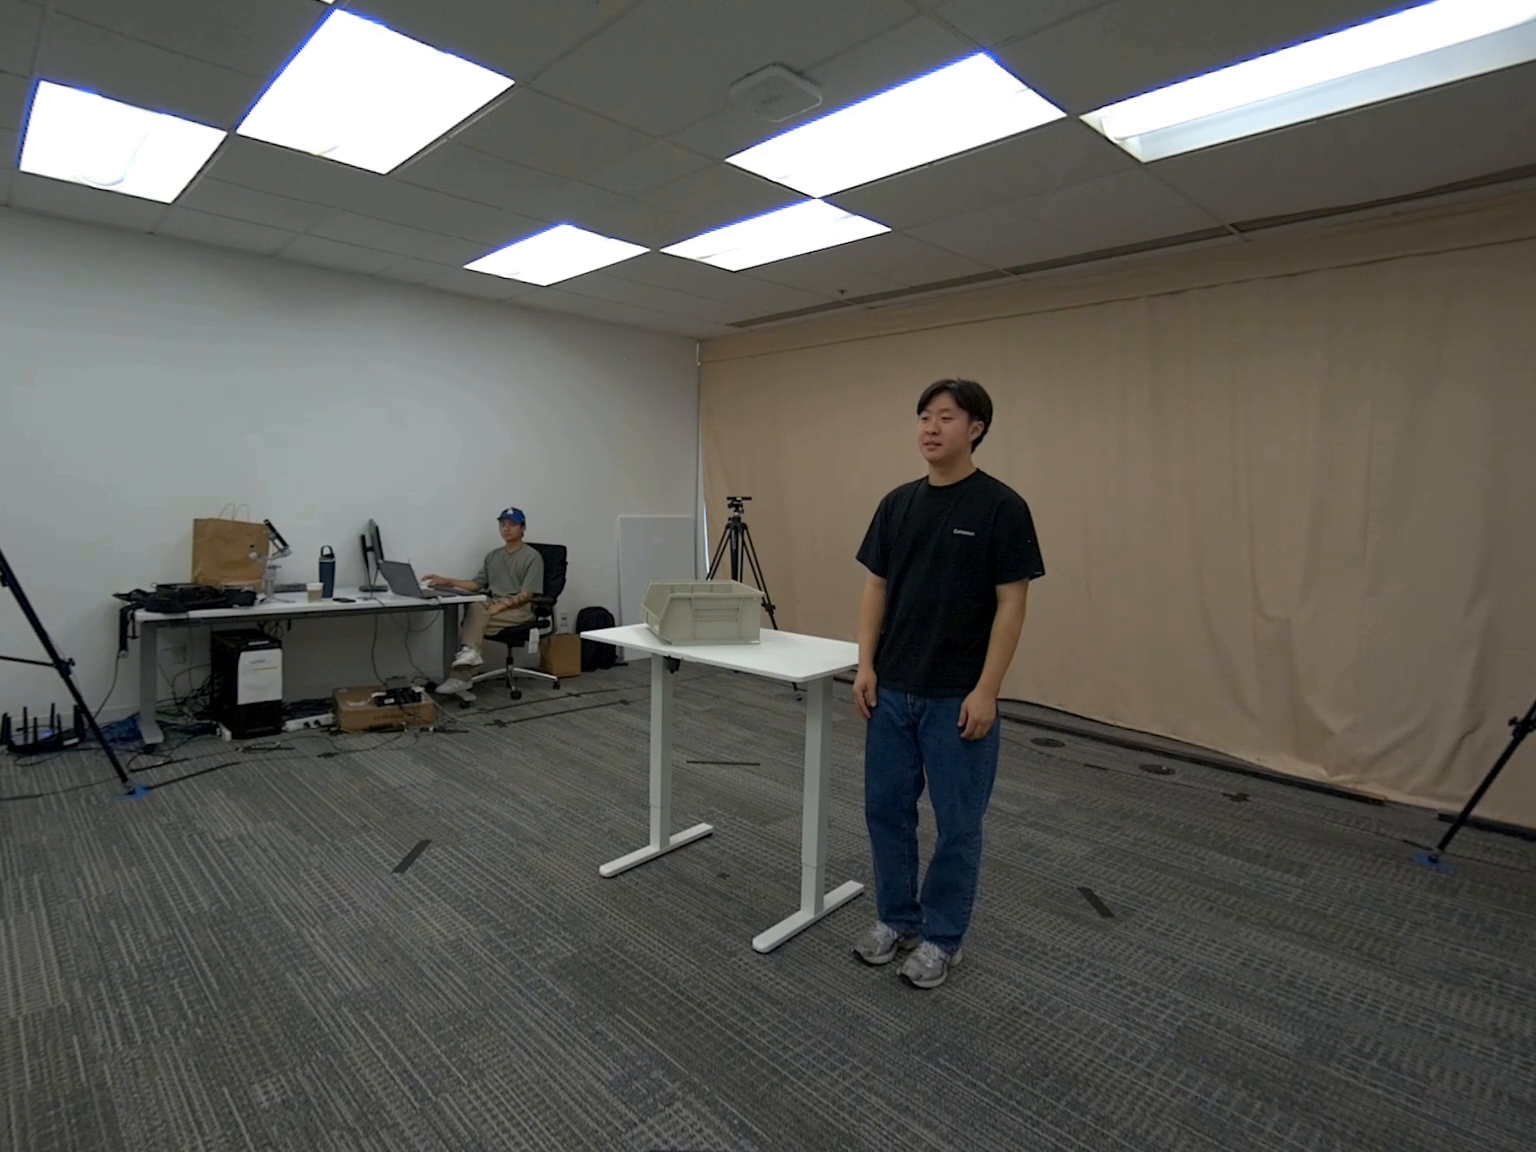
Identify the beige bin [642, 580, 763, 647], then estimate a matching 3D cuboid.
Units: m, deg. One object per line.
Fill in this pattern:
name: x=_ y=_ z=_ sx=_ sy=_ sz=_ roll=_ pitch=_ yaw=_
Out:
beige bin: x=-0.257 y=0.134 z=3.099 sx=0.372 sy=0.188 sz=0.429 roll=0 pitch=5 yaw=-17
